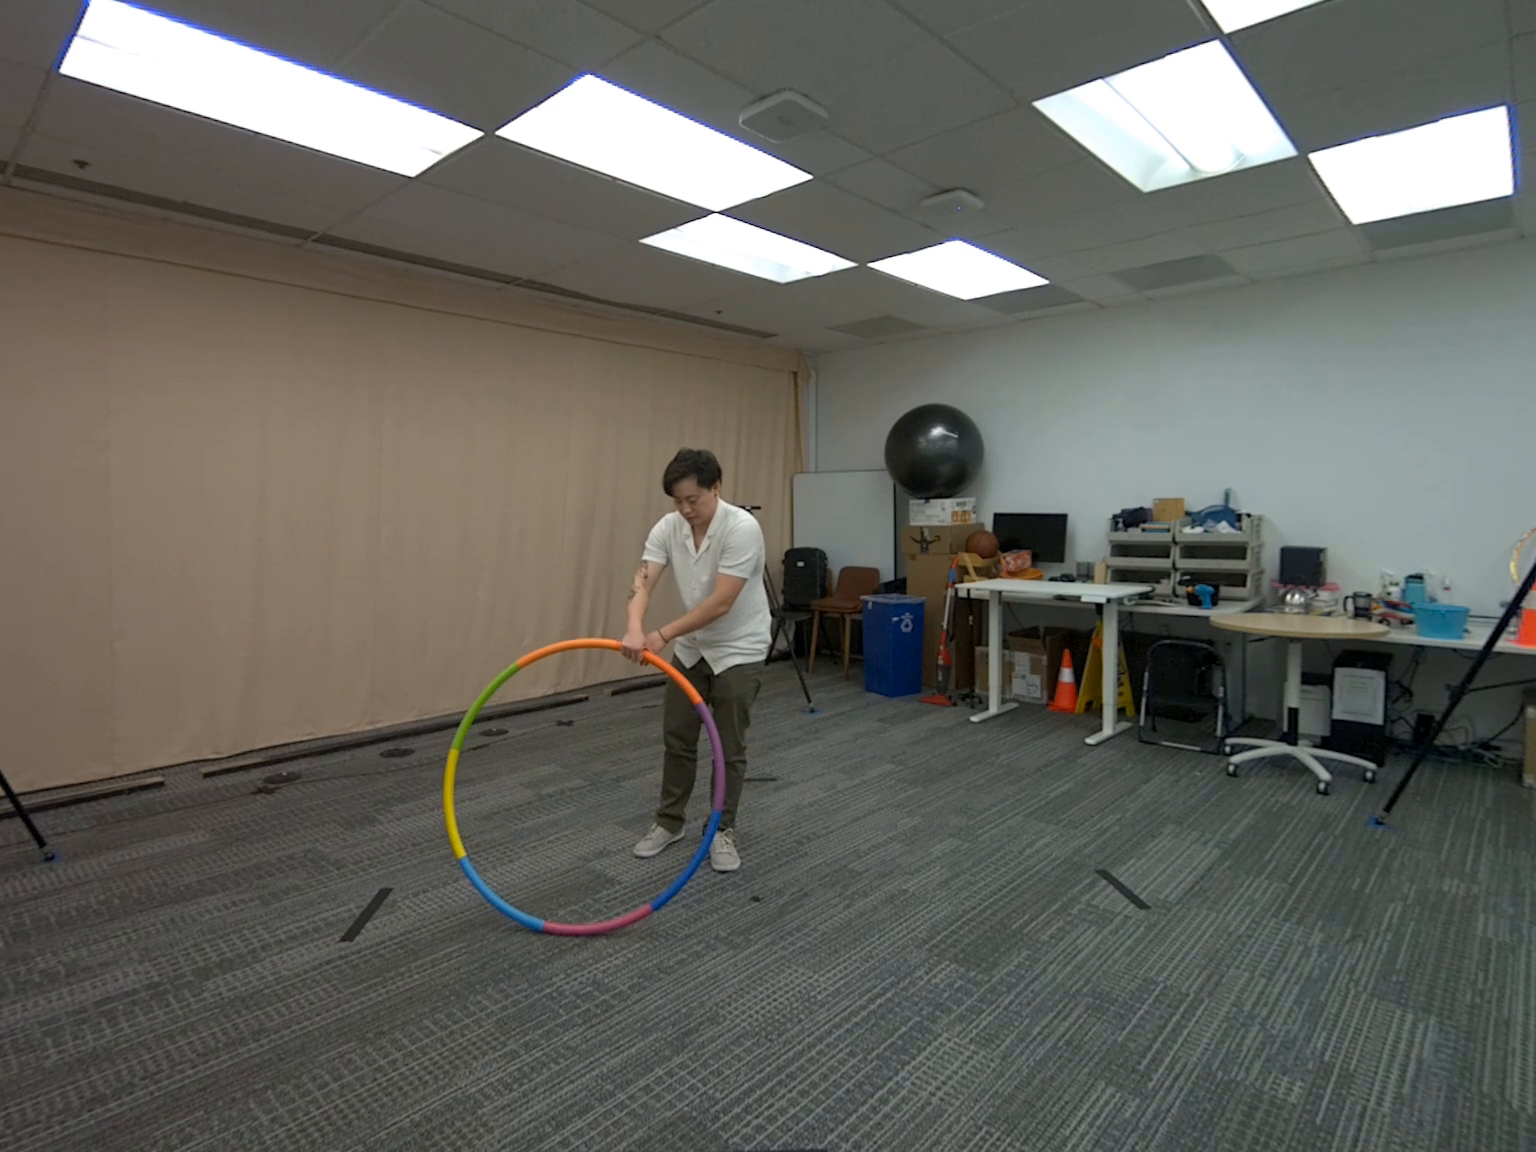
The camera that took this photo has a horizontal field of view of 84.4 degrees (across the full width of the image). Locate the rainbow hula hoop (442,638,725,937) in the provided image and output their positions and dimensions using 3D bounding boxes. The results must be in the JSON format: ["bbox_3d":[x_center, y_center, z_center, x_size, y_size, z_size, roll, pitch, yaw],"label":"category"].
[{"bbox_3d":[-0.632,0.696,2.880,0.987,0.988,0.035,0,-18,8],"label":"rainbow hula hoop"}]
